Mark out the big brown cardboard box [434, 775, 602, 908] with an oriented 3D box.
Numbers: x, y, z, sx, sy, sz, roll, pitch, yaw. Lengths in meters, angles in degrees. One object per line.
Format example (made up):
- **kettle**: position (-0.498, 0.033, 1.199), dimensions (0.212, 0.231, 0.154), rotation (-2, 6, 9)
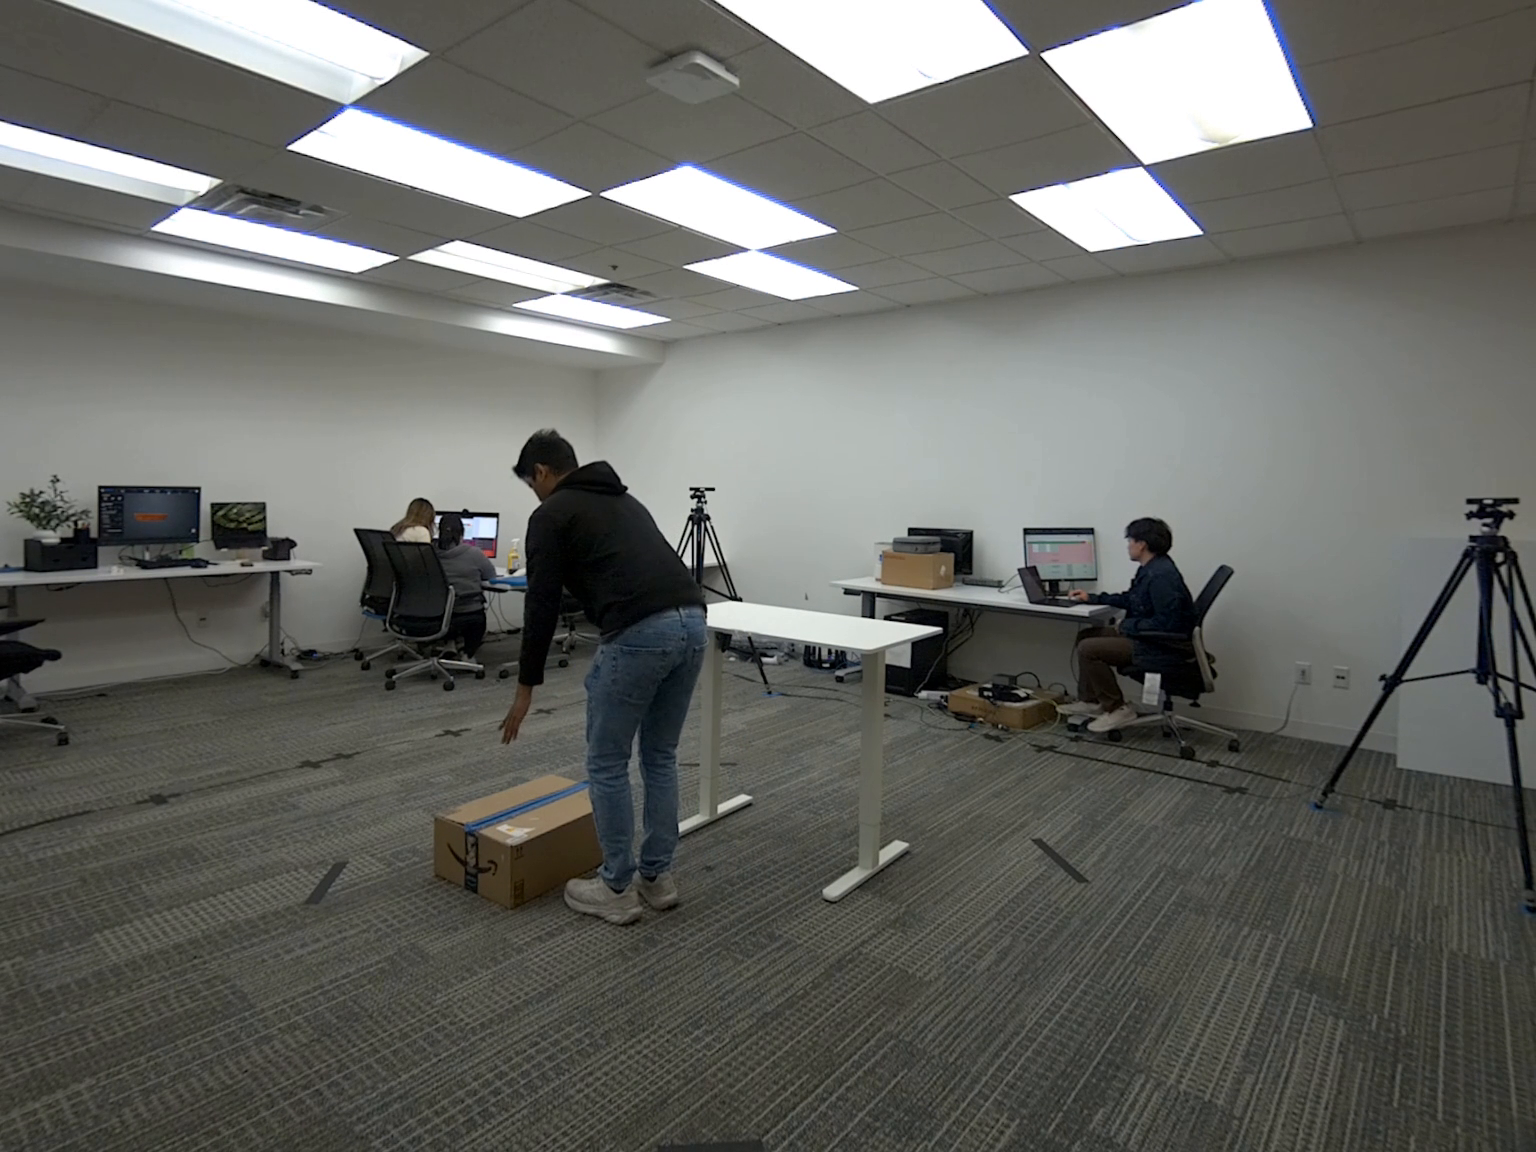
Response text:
- **big brown cardboard box**: position (-0.877, 0.945, 3.116), dimensions (0.431, 0.232, 0.573), rotation (4, 5, 33)
